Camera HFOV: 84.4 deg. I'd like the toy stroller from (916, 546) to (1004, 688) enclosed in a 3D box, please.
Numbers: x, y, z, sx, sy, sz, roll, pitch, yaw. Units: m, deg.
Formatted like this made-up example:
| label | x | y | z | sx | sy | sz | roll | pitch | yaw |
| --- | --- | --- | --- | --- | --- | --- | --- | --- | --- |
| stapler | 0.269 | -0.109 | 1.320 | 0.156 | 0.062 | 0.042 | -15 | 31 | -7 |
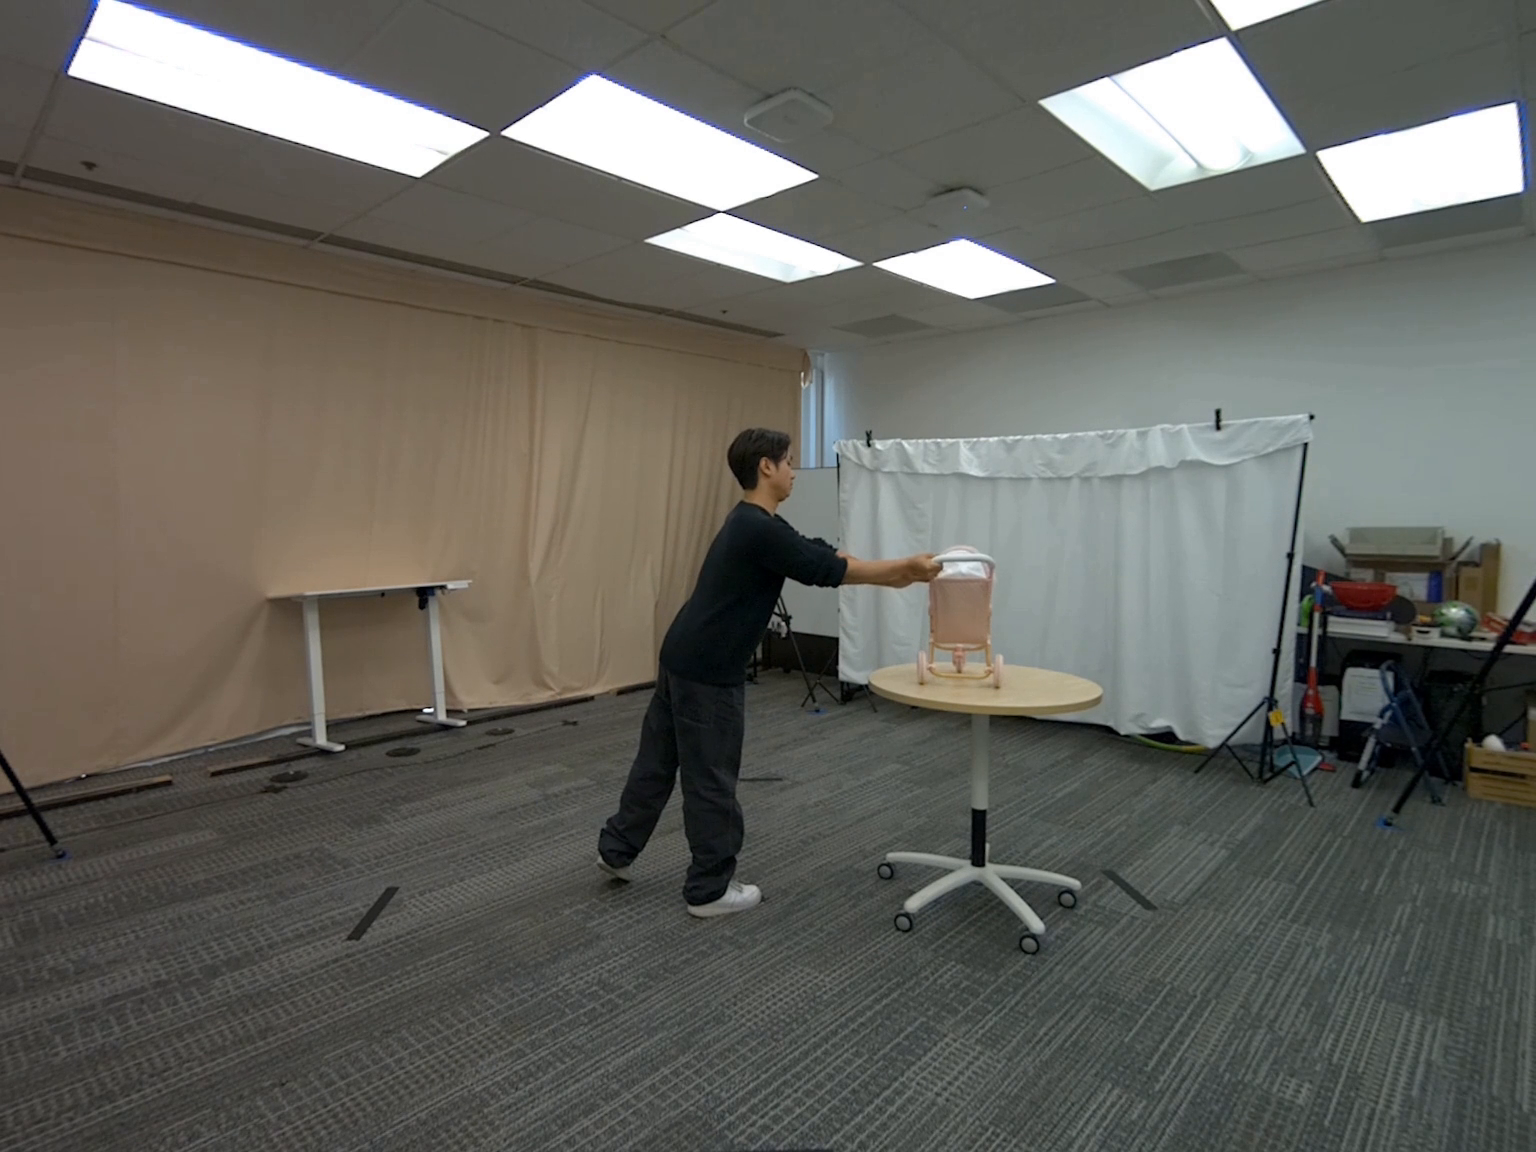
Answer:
| label | x | y | z | sx | sy | sz | roll | pitch | yaw |
| --- | --- | --- | --- | --- | --- | --- | --- | --- | --- |
| toy stroller | 0.669 | 0.138 | 2.899 | 0.287 | 0.529 | 0.338 | 1 | 17 | 18 |
